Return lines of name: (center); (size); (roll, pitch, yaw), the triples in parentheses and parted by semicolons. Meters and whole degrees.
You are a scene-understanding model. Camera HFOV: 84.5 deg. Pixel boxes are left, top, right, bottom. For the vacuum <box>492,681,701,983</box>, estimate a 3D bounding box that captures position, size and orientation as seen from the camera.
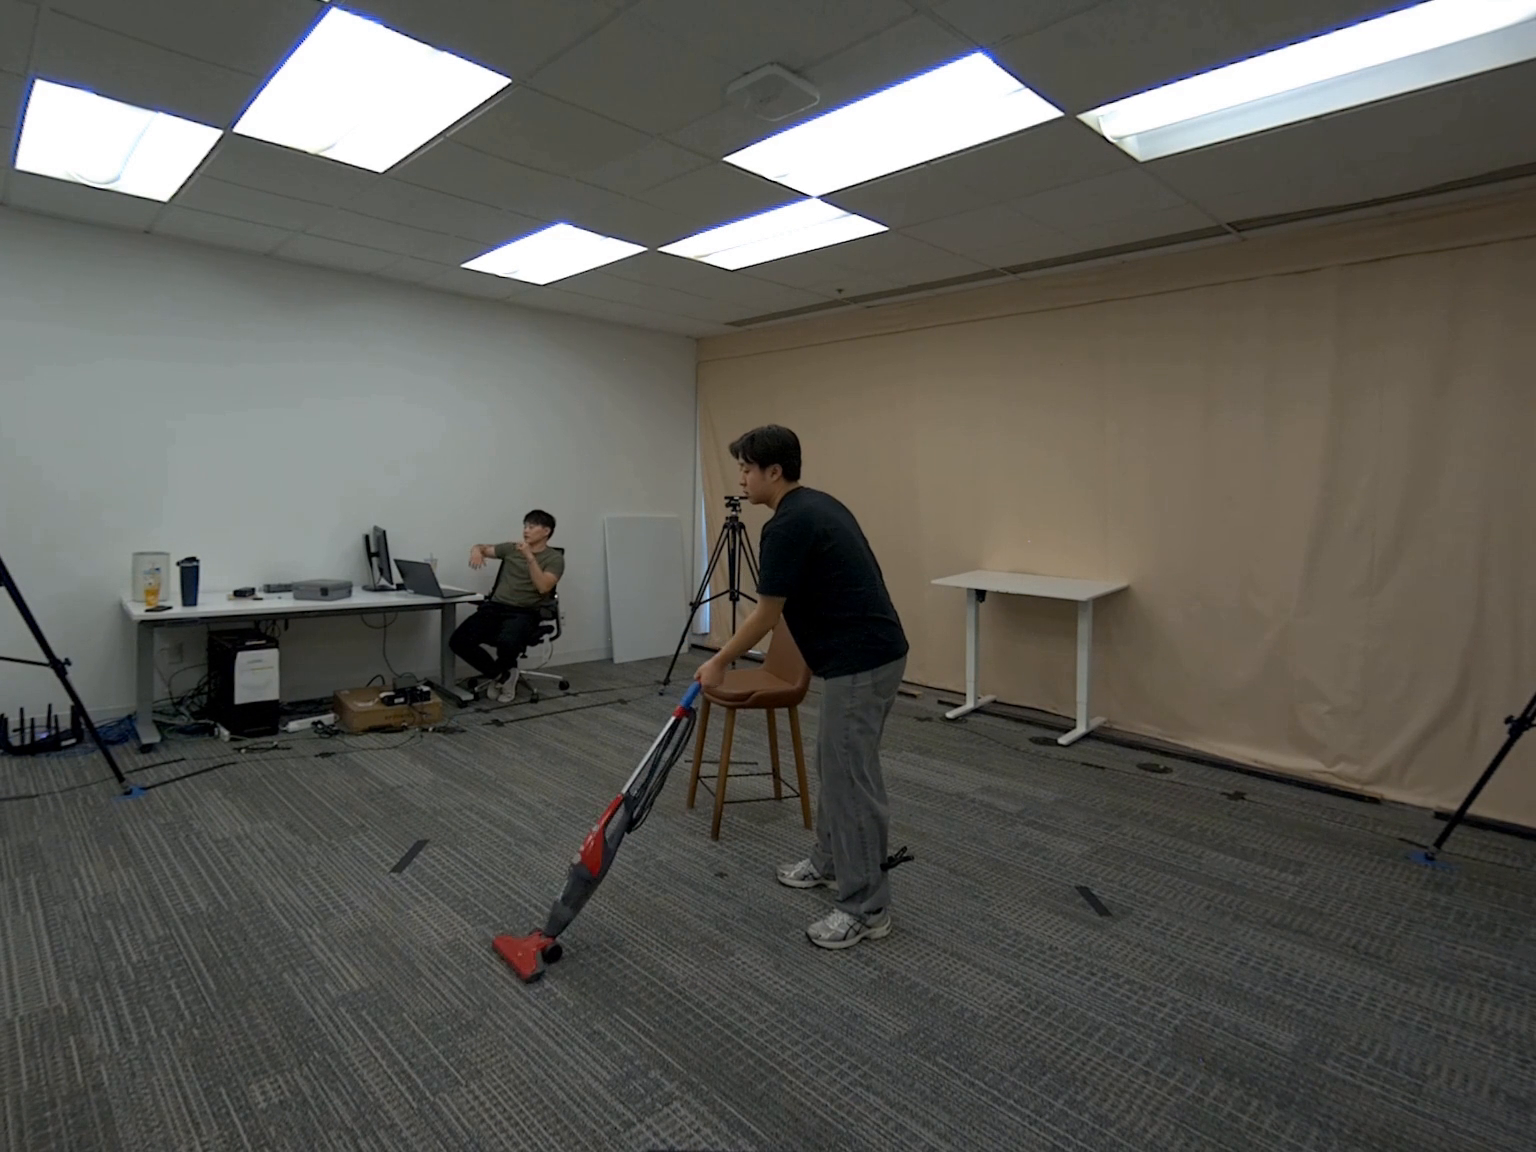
vacuum: (-0.449, 0.735, 2.714); (0.259, 1.053, 0.139); (10, -33, 45)
